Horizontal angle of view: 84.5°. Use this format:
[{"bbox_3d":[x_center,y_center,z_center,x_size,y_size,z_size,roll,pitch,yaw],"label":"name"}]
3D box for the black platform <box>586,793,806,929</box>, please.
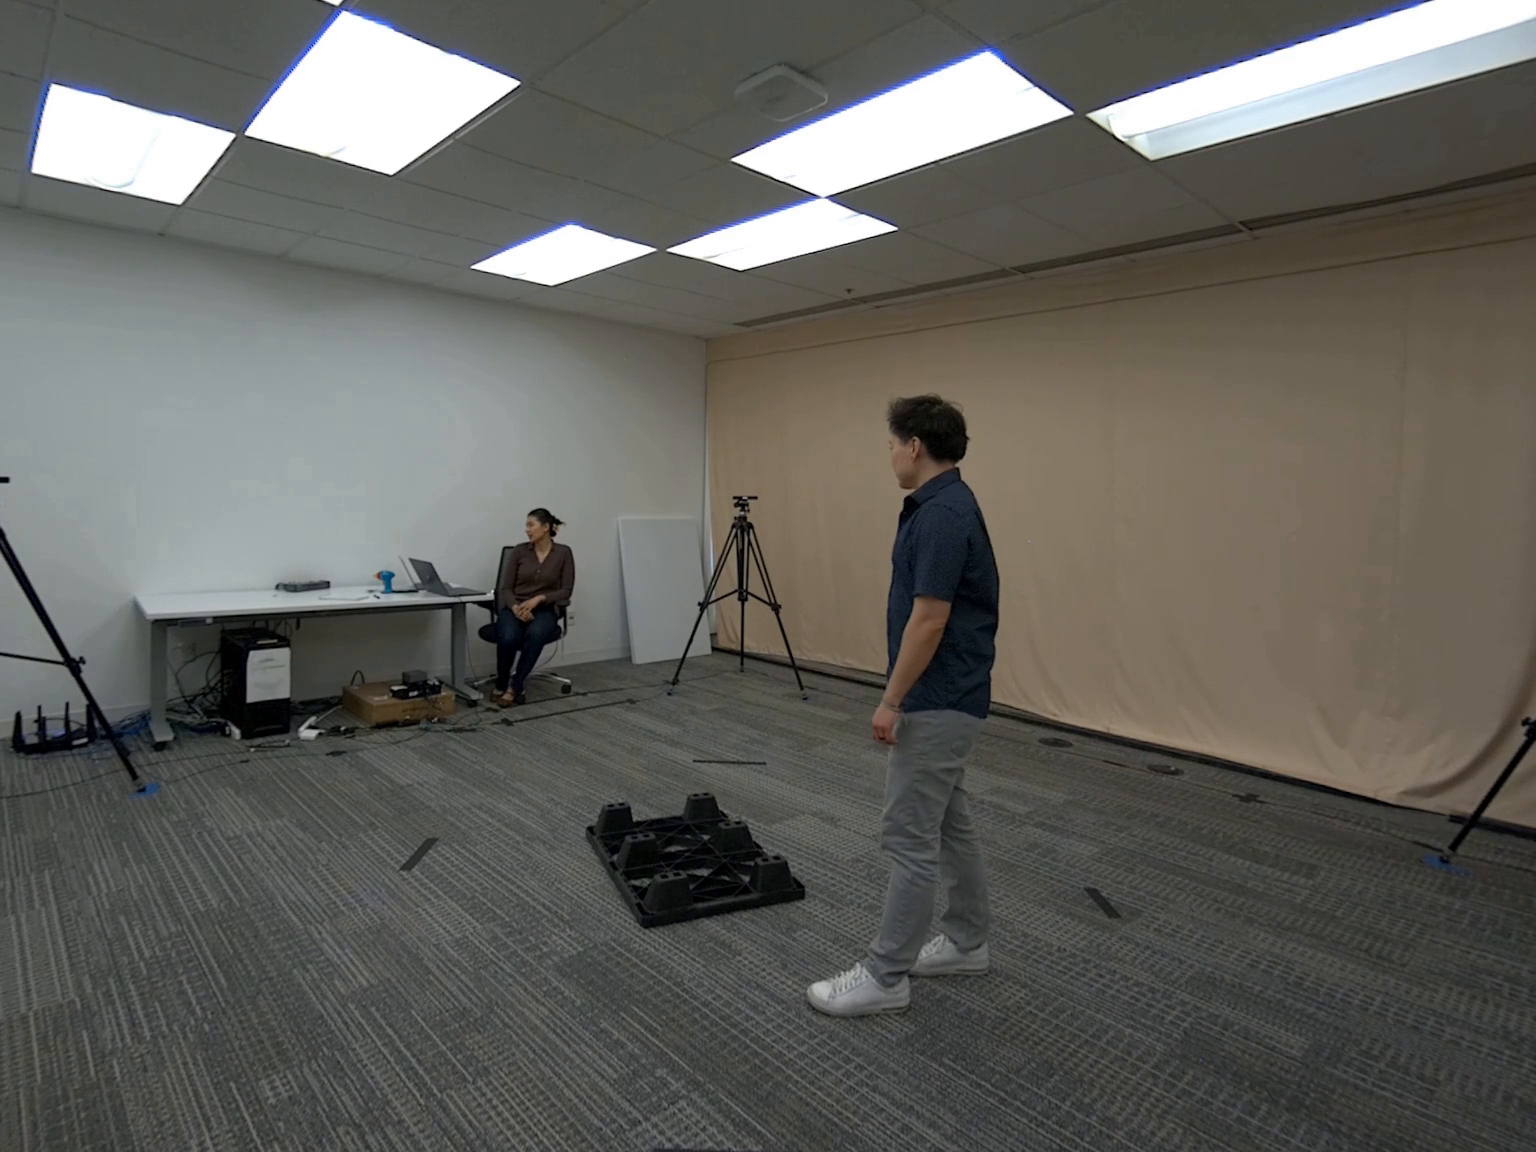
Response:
[{"bbox_3d":[-0.302,1.026,3.170,0.594,0.143,0.822,-1,6,-25],"label":"black platform"}]
